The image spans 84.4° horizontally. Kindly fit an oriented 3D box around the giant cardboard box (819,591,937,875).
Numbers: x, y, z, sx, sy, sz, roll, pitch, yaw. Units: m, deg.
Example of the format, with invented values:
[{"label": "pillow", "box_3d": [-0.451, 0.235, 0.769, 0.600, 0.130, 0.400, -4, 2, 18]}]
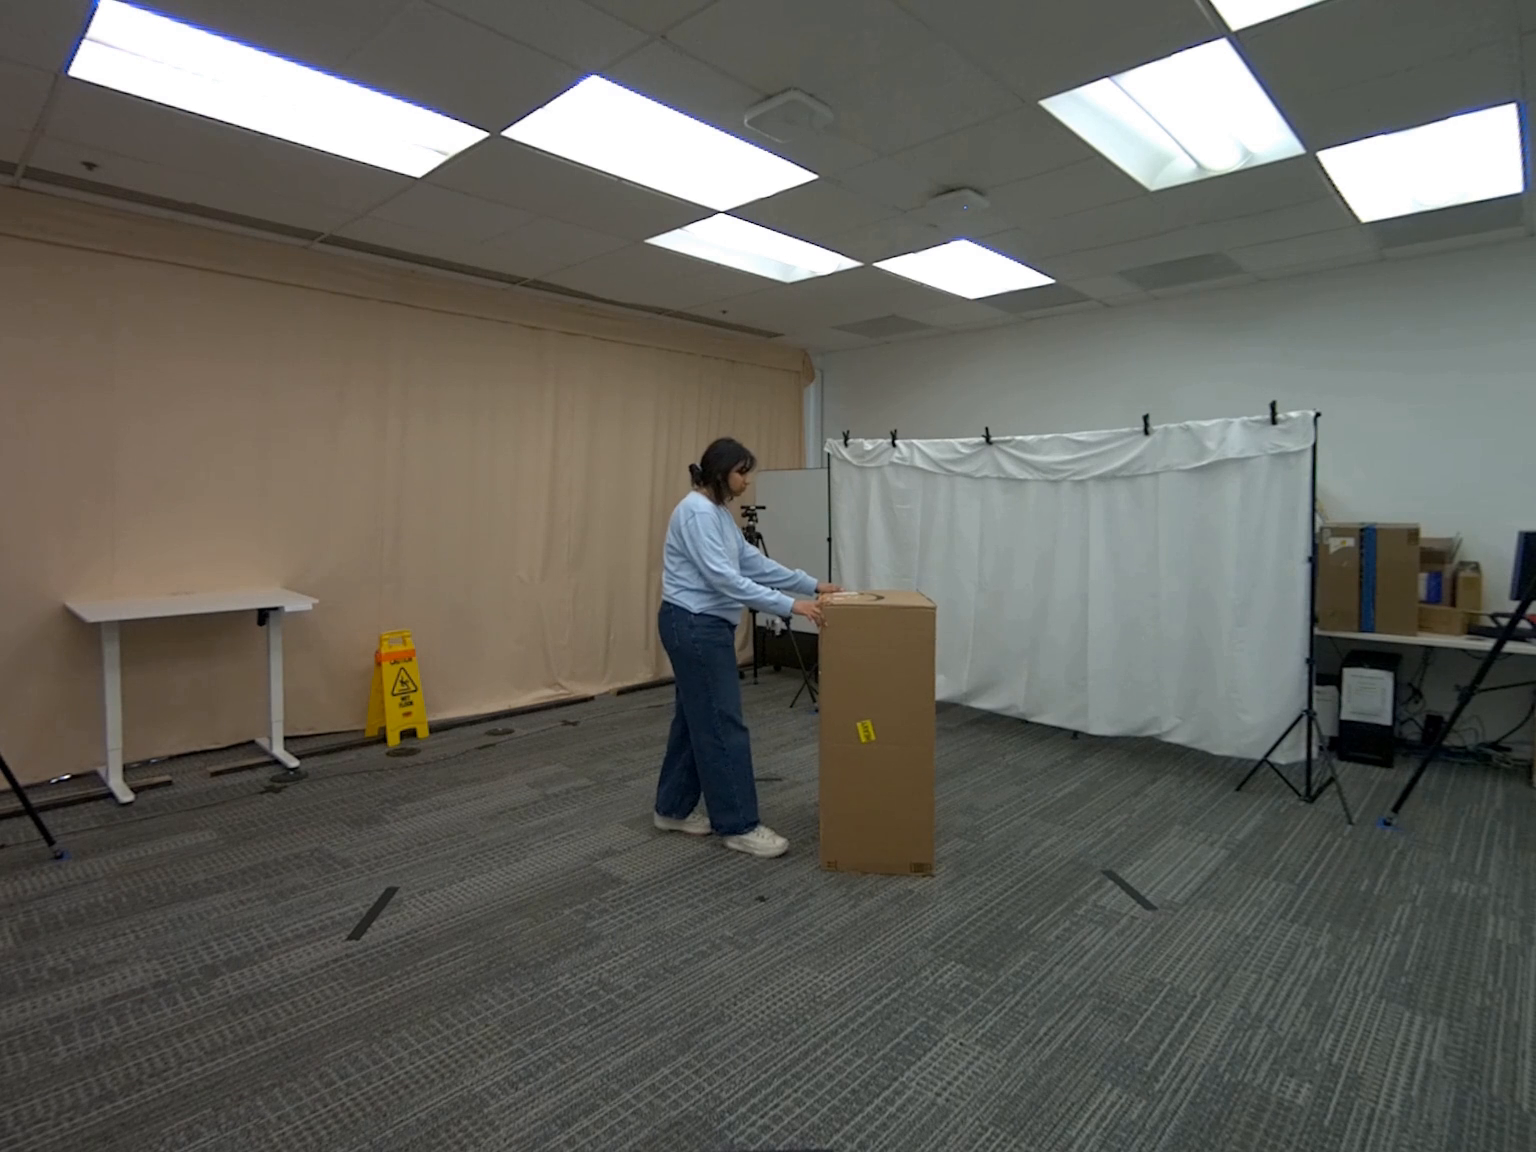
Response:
[{"label": "giant cardboard box", "box_3d": [0.431, 0.591, 3.439, 0.450, 1.025, 0.580, -1, 3, 6]}]
